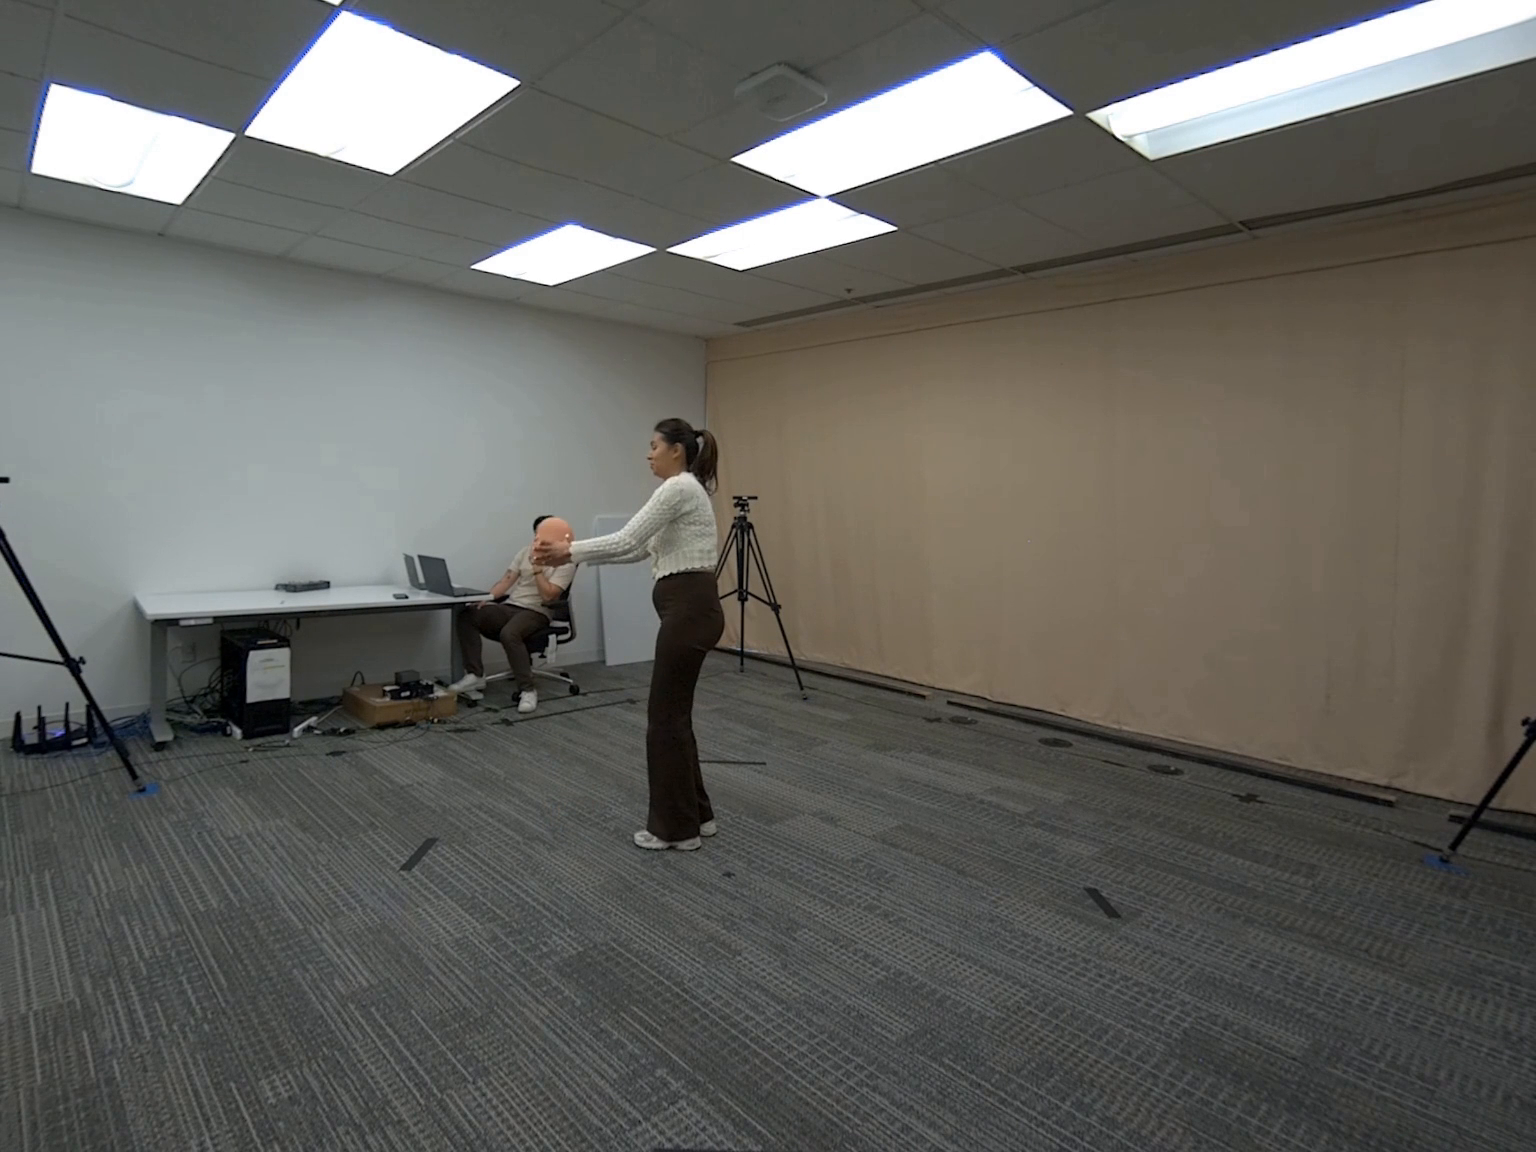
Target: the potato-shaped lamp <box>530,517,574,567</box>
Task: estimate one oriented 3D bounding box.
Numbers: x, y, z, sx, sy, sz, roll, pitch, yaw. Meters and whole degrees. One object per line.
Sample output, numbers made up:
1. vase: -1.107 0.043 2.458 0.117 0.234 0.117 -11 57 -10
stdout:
1. potato-shaped lamp: -0.872 -0.130 3.405 0.172 0.198 0.164 -3 -3 5
